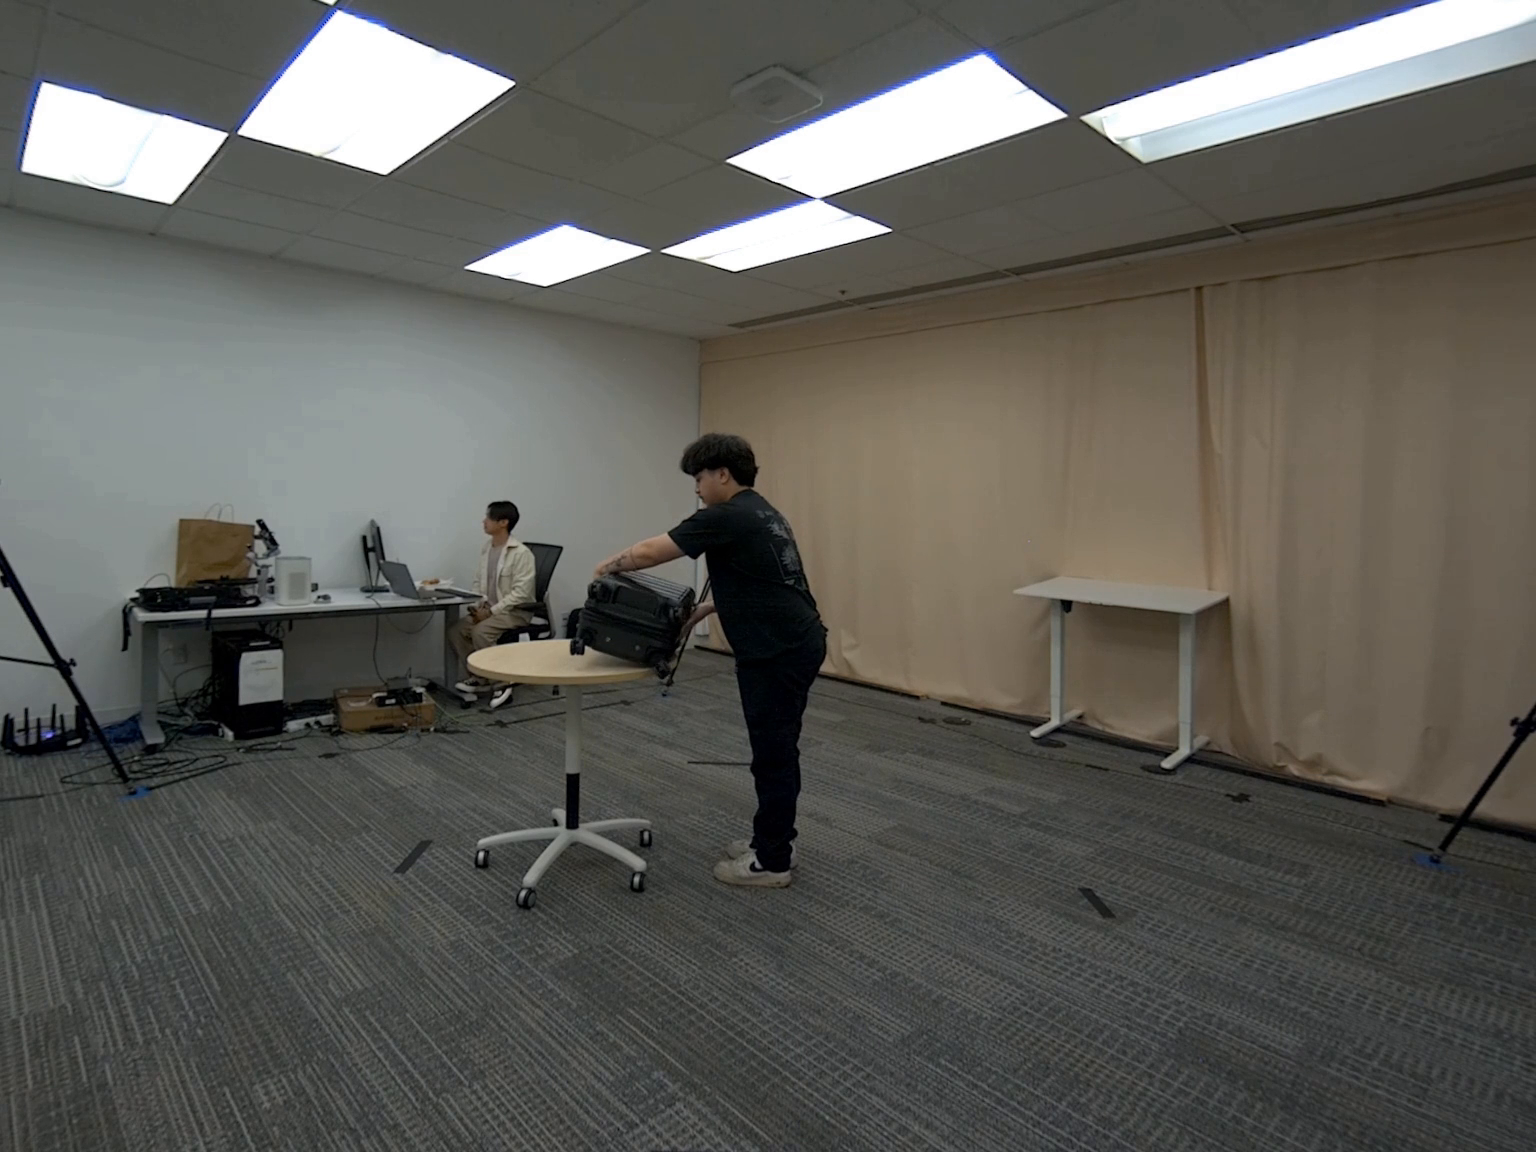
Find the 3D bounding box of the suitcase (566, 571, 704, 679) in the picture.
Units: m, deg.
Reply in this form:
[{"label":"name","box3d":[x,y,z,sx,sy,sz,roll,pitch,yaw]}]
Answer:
[{"label":"suitcase","box3d":[-0.469,0.152,3.109,0.375,0.248,0.550,14,5,-1]}]
